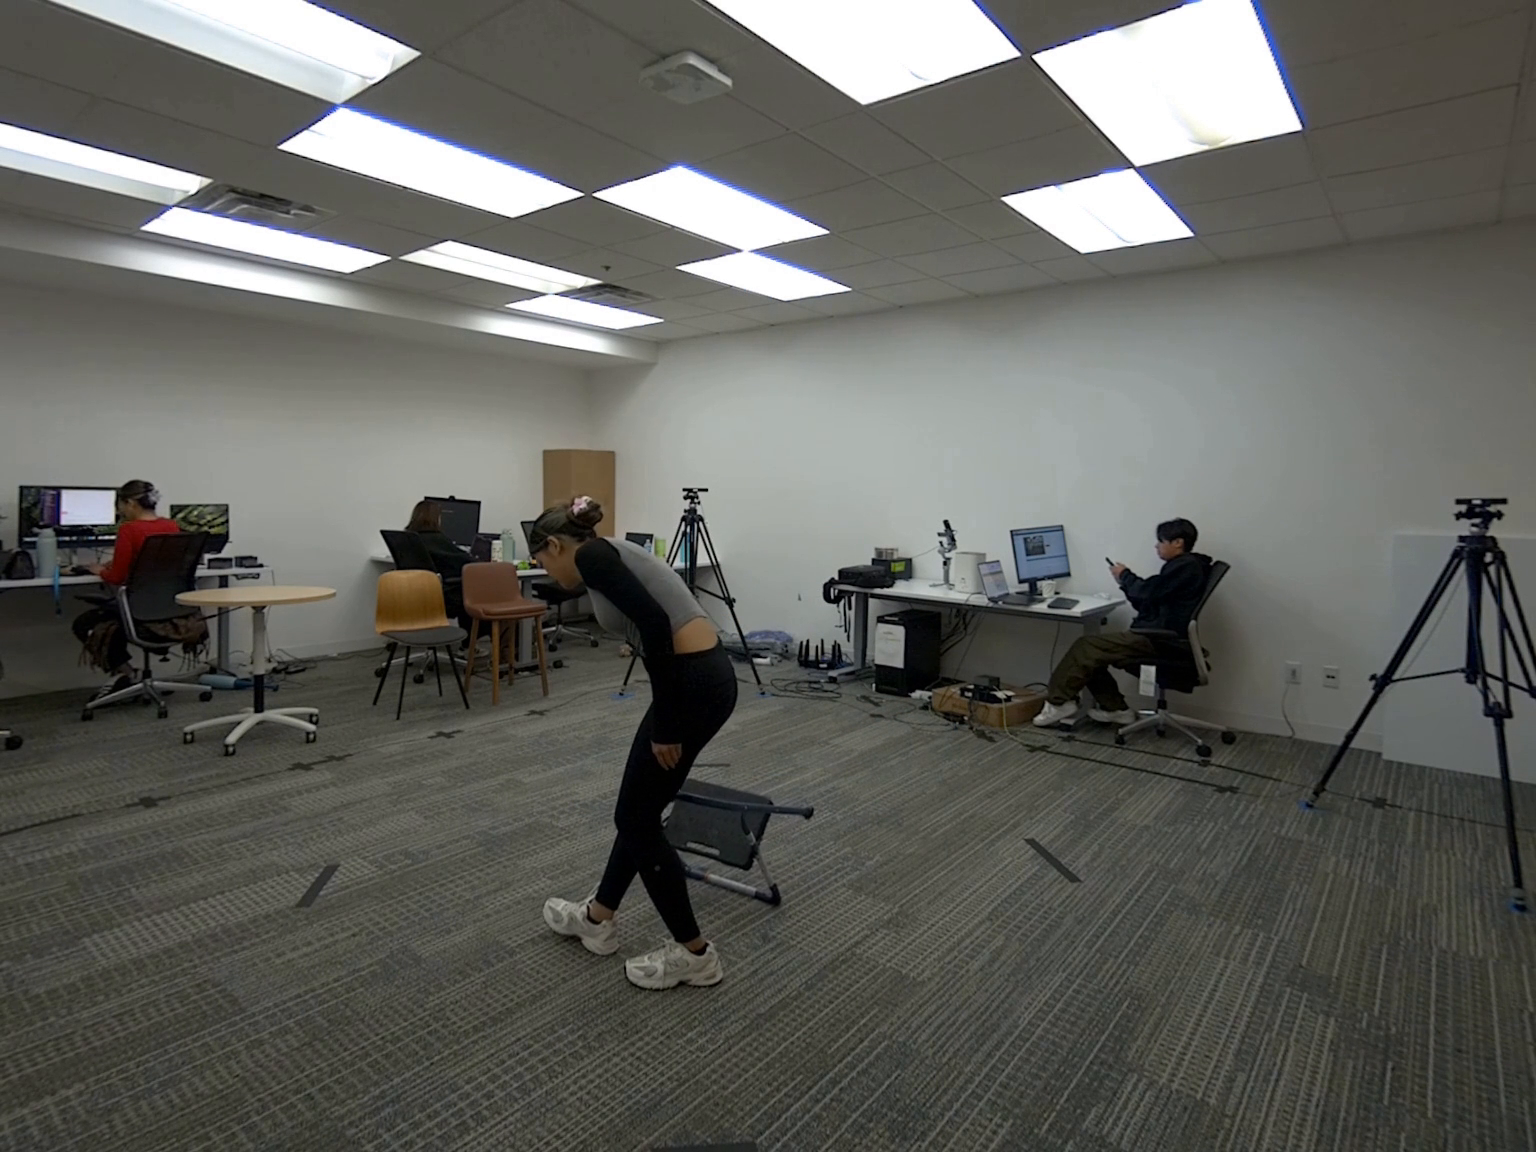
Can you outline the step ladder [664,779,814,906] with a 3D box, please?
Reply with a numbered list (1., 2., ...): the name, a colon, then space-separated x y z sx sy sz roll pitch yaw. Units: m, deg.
1. step ladder: -0.196 0.778 2.852 0.444 0.353 0.581 4 -36 31
